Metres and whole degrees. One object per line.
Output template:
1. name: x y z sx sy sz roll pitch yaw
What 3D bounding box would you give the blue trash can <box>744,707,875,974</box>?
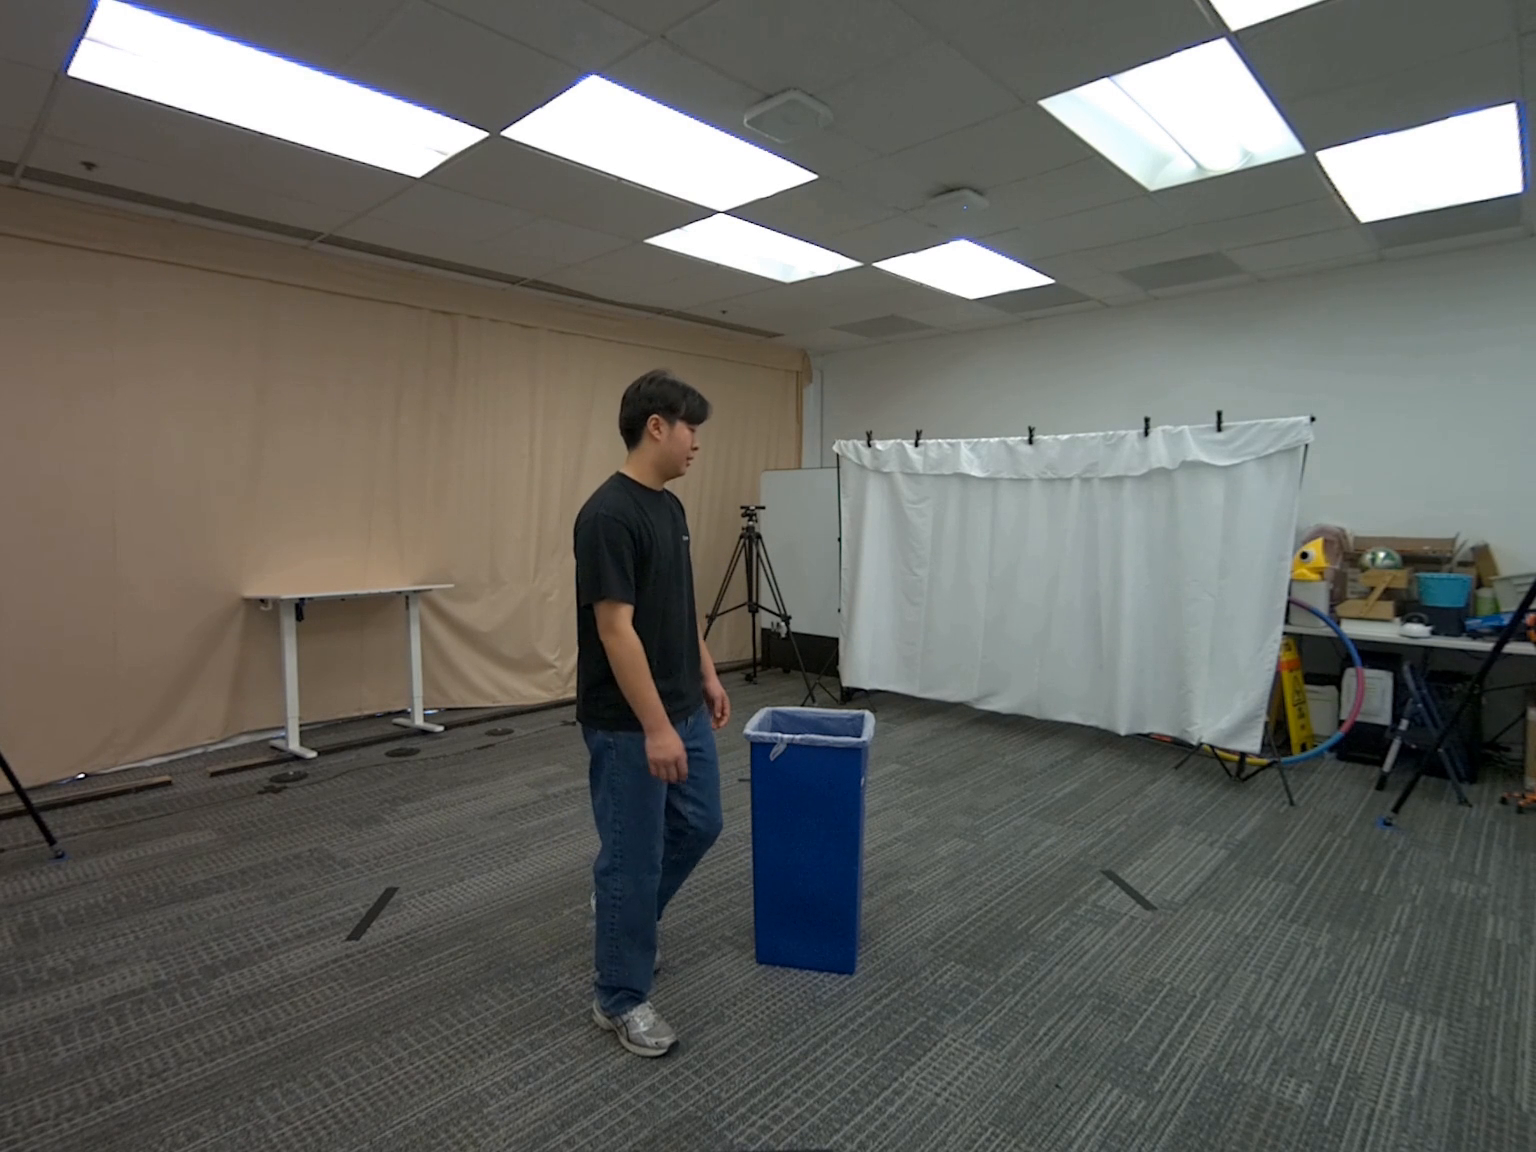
1. blue trash can: 0.143 0.813 2.648 0.383 0.713 0.369 1 2 12
